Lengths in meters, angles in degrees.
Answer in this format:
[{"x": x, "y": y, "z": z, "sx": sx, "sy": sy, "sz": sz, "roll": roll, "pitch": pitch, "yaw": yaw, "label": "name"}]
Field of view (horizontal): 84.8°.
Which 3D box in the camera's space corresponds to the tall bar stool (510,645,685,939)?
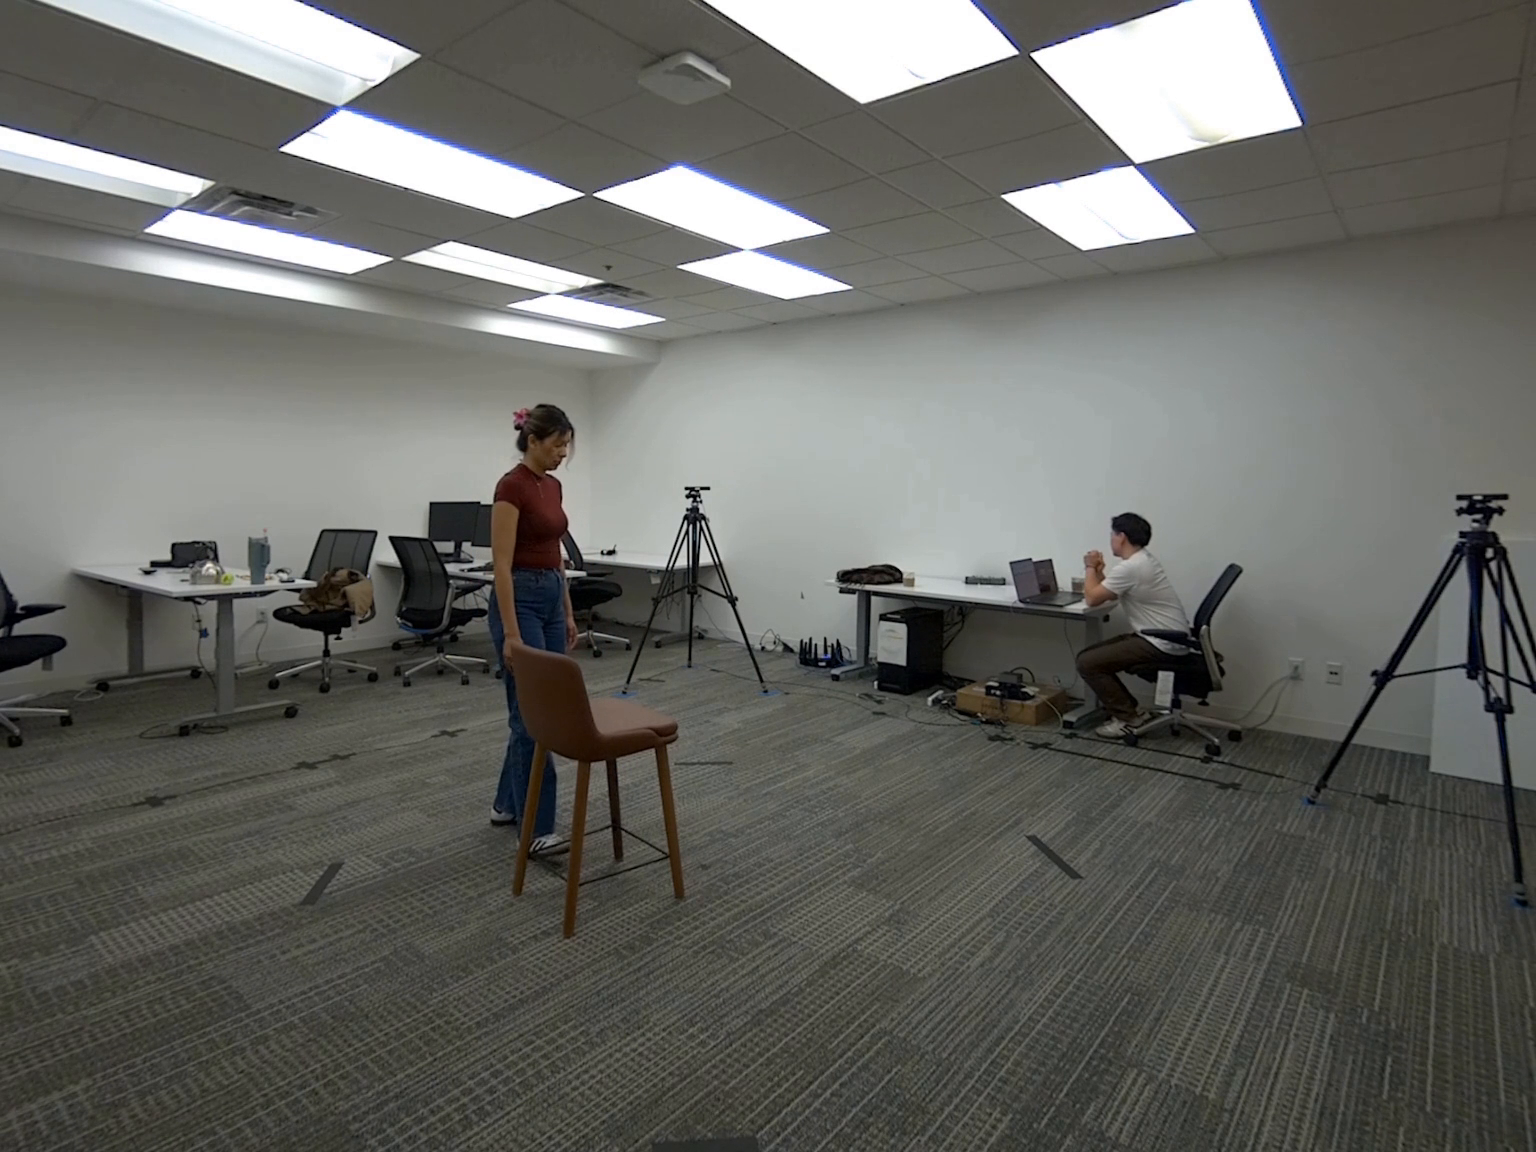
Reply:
[{"x": -0.589, "y": 0.651, "z": 2.866, "sx": 0.454, "sy": 0.886, "sz": 0.472, "roll": -4, "pitch": 5, "yaw": -42, "label": "tall bar stool"}]
